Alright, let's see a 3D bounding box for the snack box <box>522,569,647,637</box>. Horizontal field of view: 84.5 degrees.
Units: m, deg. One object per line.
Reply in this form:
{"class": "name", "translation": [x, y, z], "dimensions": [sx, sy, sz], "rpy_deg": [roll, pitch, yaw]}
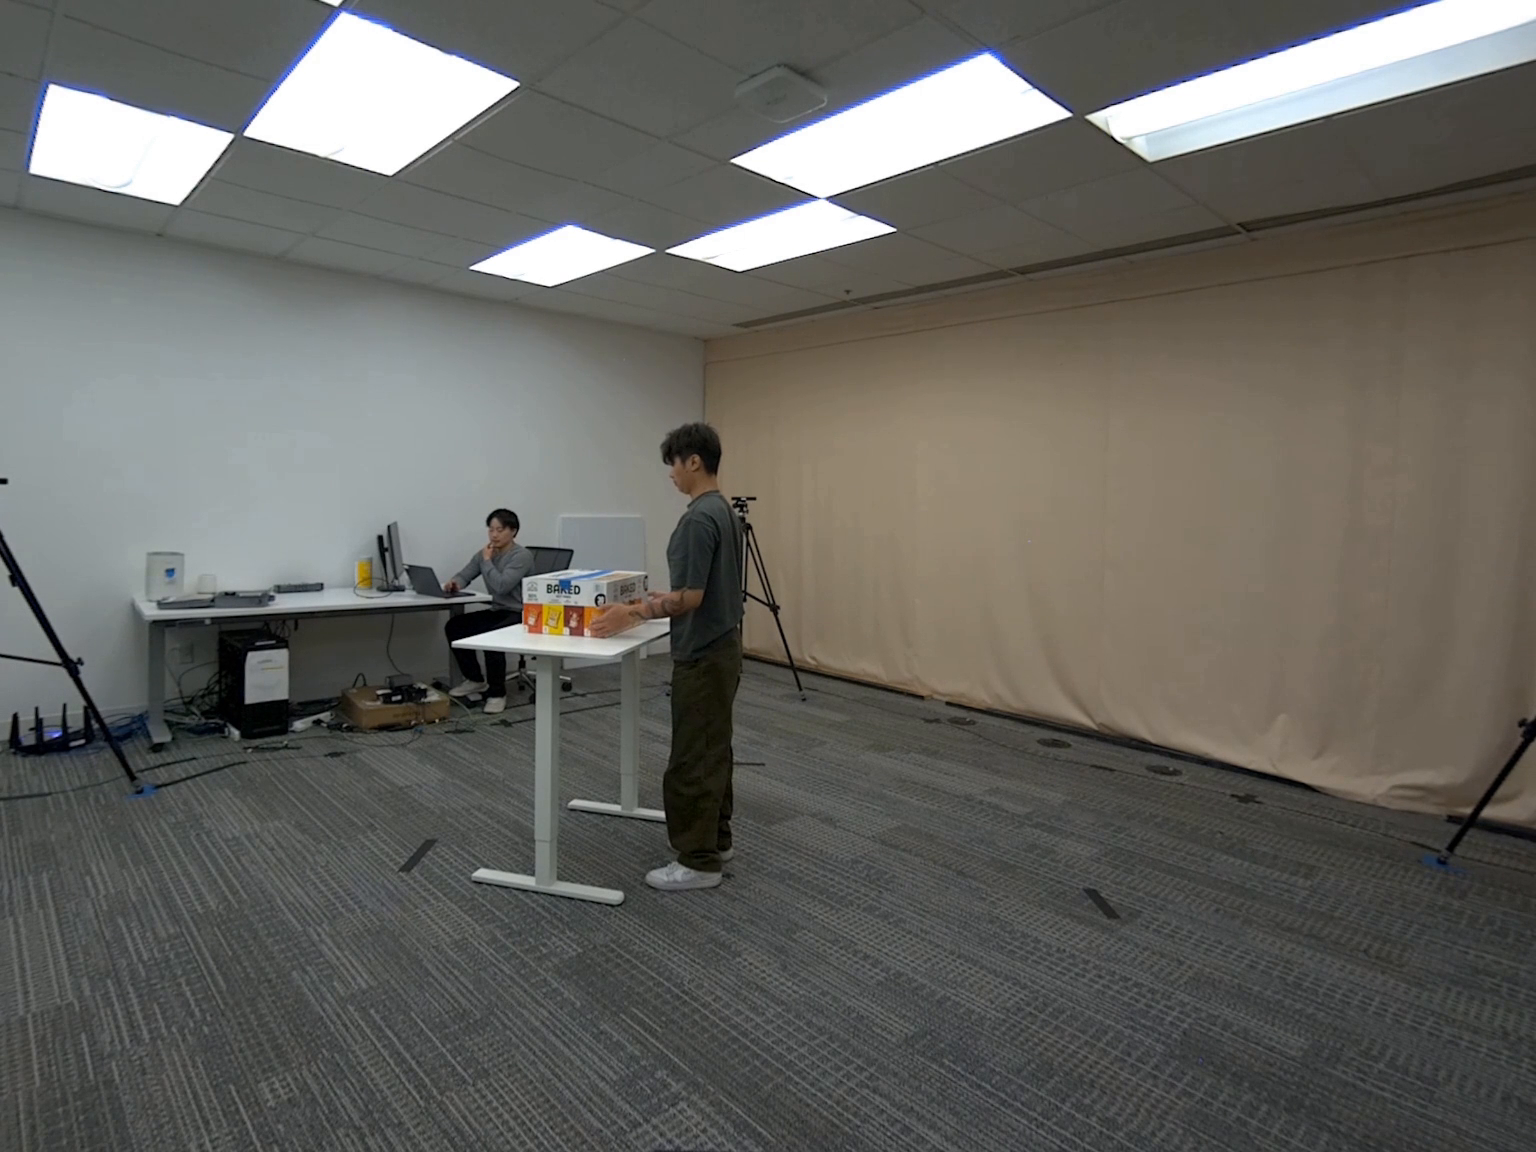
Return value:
{"class": "snack box", "translation": [-0.700, 0.097, 3.248], "dimensions": [0.345, 0.205, 0.401], "rpy_deg": [3, 5, 15]}
